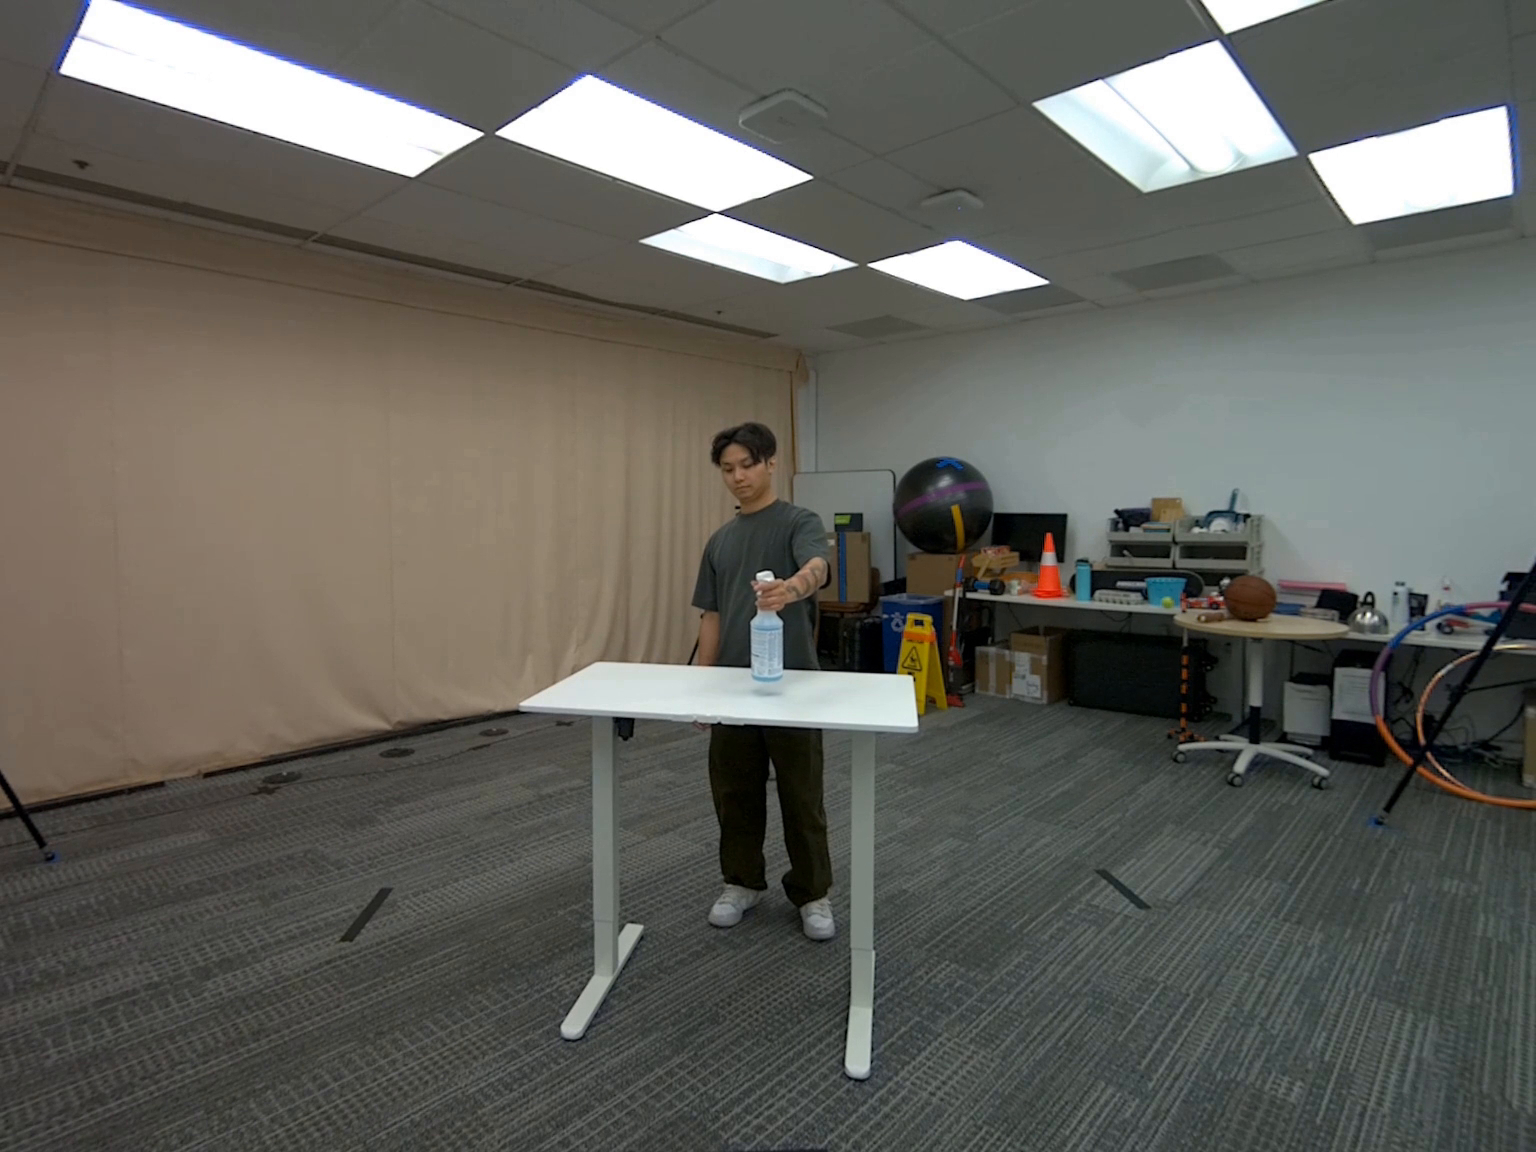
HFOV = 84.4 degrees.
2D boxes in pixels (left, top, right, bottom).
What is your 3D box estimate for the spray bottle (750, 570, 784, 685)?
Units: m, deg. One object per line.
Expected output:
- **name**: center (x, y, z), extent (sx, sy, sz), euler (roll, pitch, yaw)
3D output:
- **spray bottle**: center (0.001, 0.135, 2.269), extent (0.087, 0.295, 0.090), euler (-9, 12, -38)
